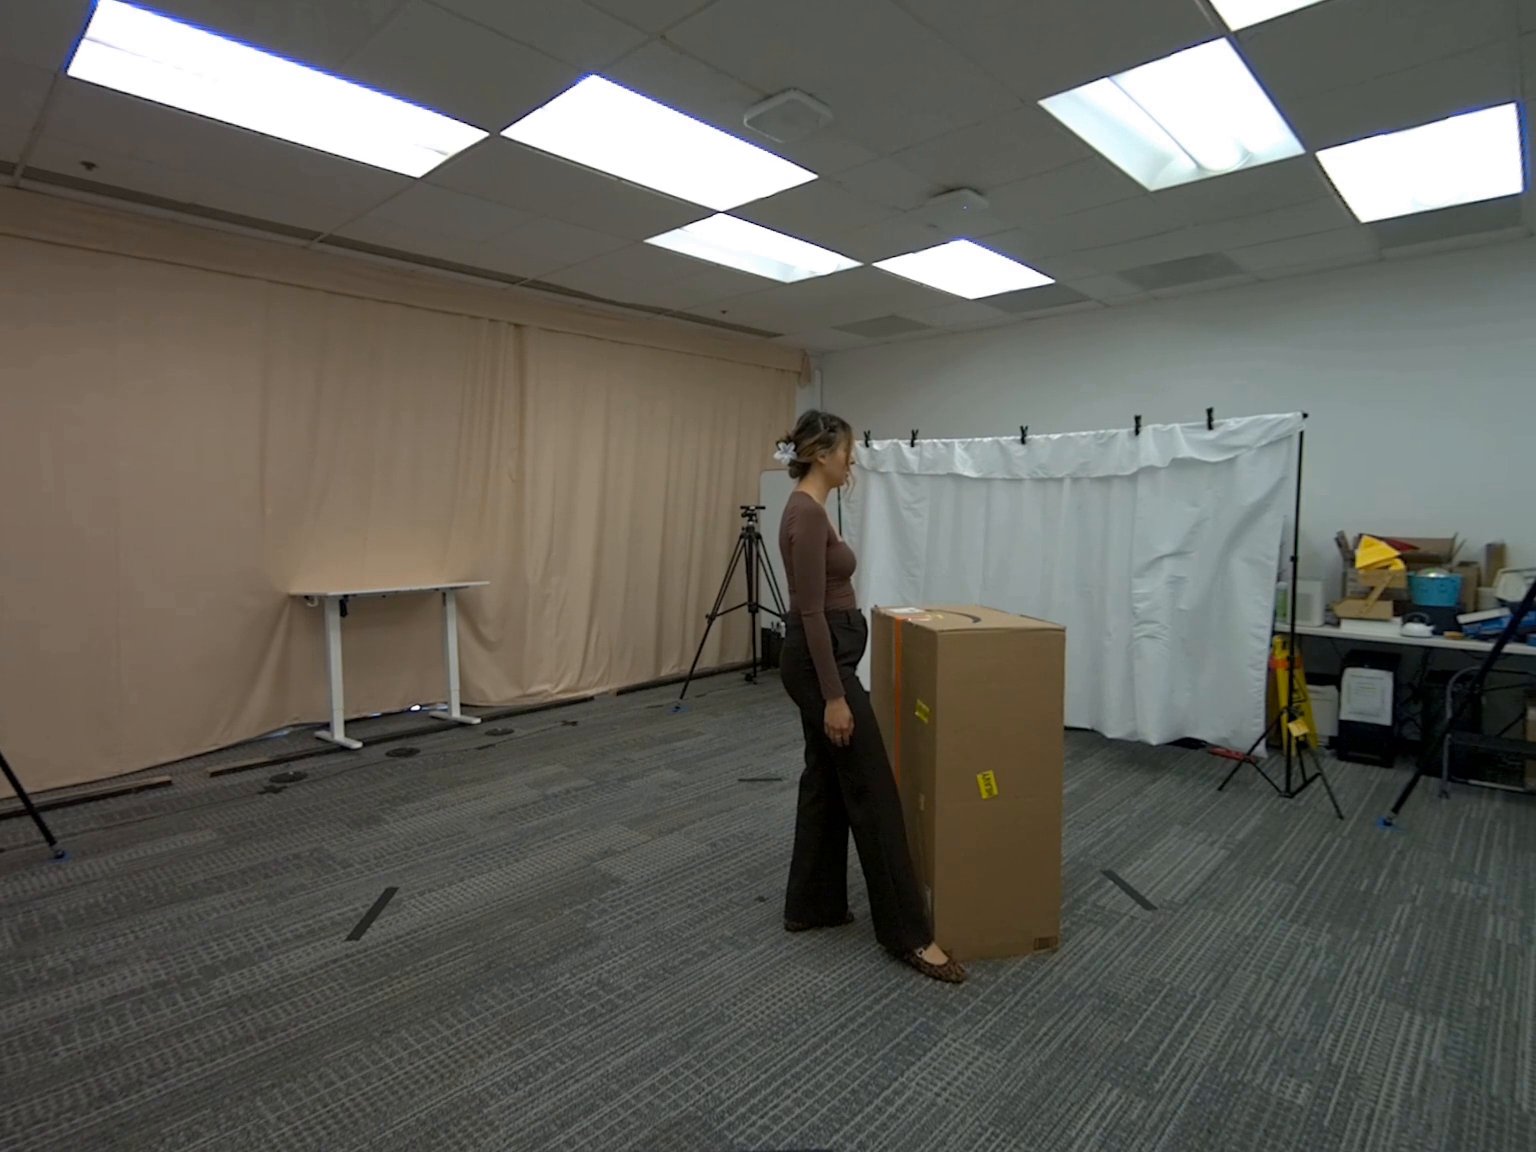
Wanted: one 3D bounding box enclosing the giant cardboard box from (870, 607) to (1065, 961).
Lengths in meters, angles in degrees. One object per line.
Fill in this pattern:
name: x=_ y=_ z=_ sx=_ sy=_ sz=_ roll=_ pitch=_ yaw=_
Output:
giant cardboard box: x=0.647 y=0.640 z=2.836 sx=0.442 sy=1.025 sz=0.591 roll=0 pitch=3 yaw=-10
